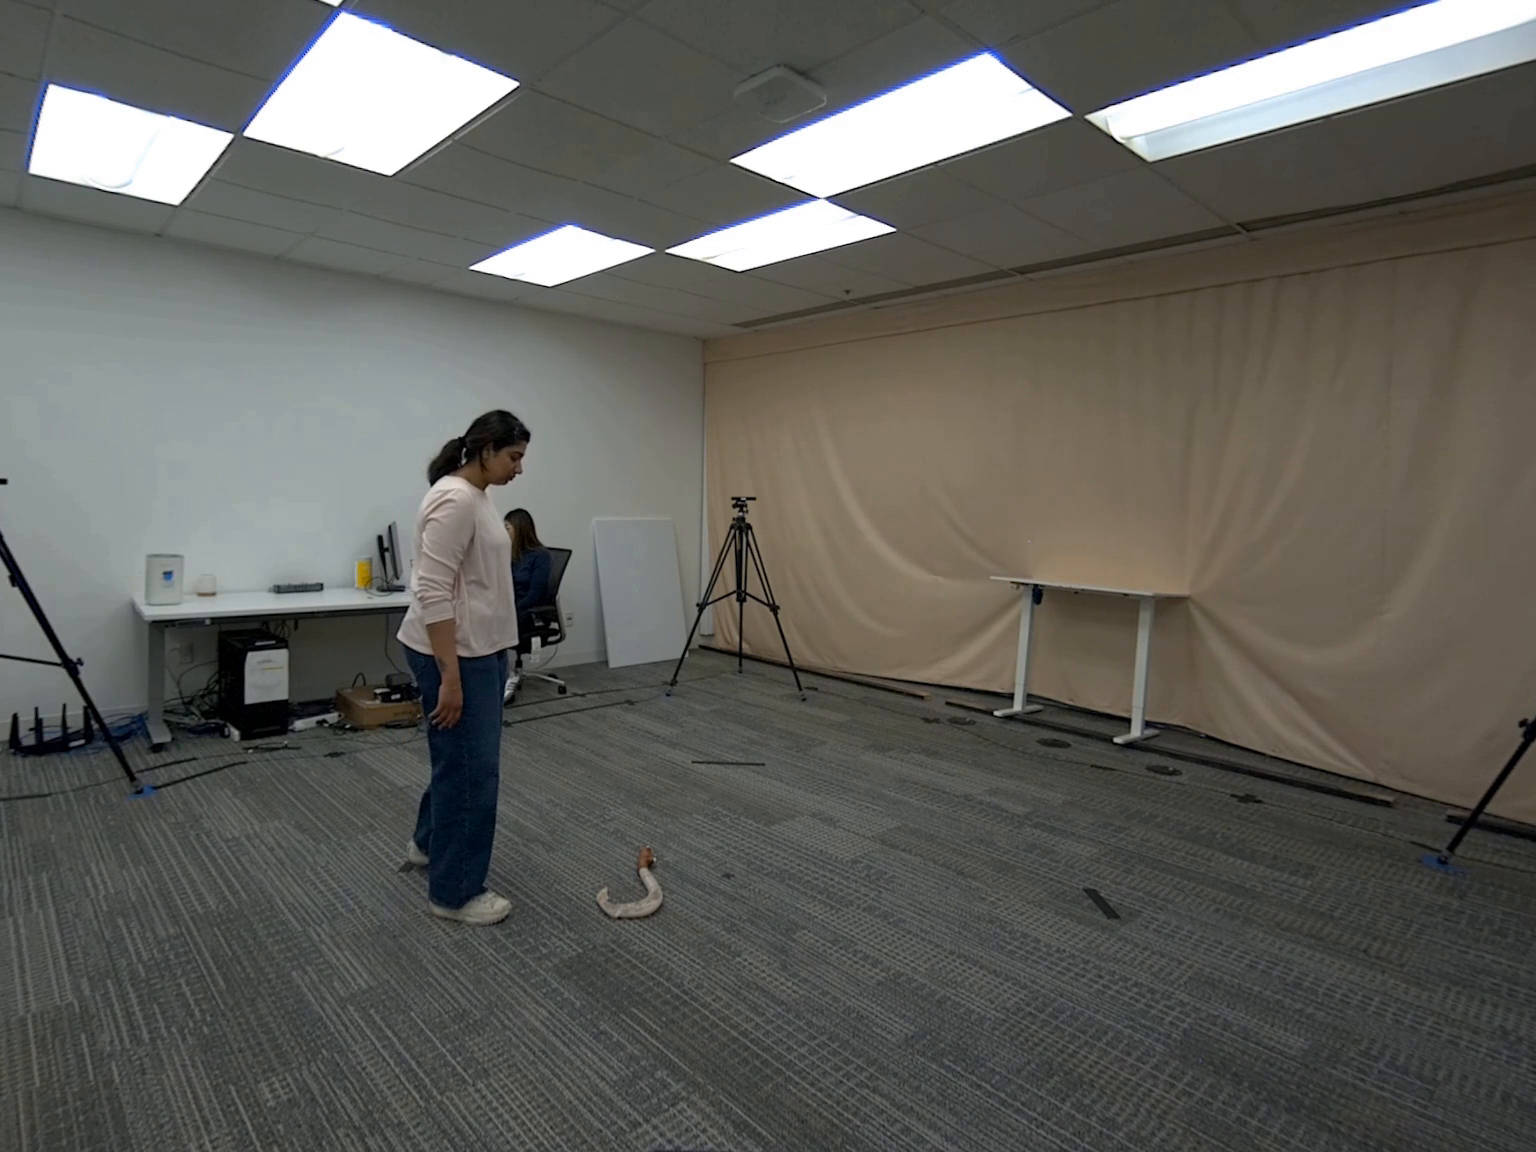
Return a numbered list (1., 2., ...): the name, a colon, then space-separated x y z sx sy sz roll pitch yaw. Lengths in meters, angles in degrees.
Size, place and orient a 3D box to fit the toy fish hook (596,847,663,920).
1. toy fish hook: -0.497 1.085 3.012 0.223 0.048 0.511 1 5 -8
